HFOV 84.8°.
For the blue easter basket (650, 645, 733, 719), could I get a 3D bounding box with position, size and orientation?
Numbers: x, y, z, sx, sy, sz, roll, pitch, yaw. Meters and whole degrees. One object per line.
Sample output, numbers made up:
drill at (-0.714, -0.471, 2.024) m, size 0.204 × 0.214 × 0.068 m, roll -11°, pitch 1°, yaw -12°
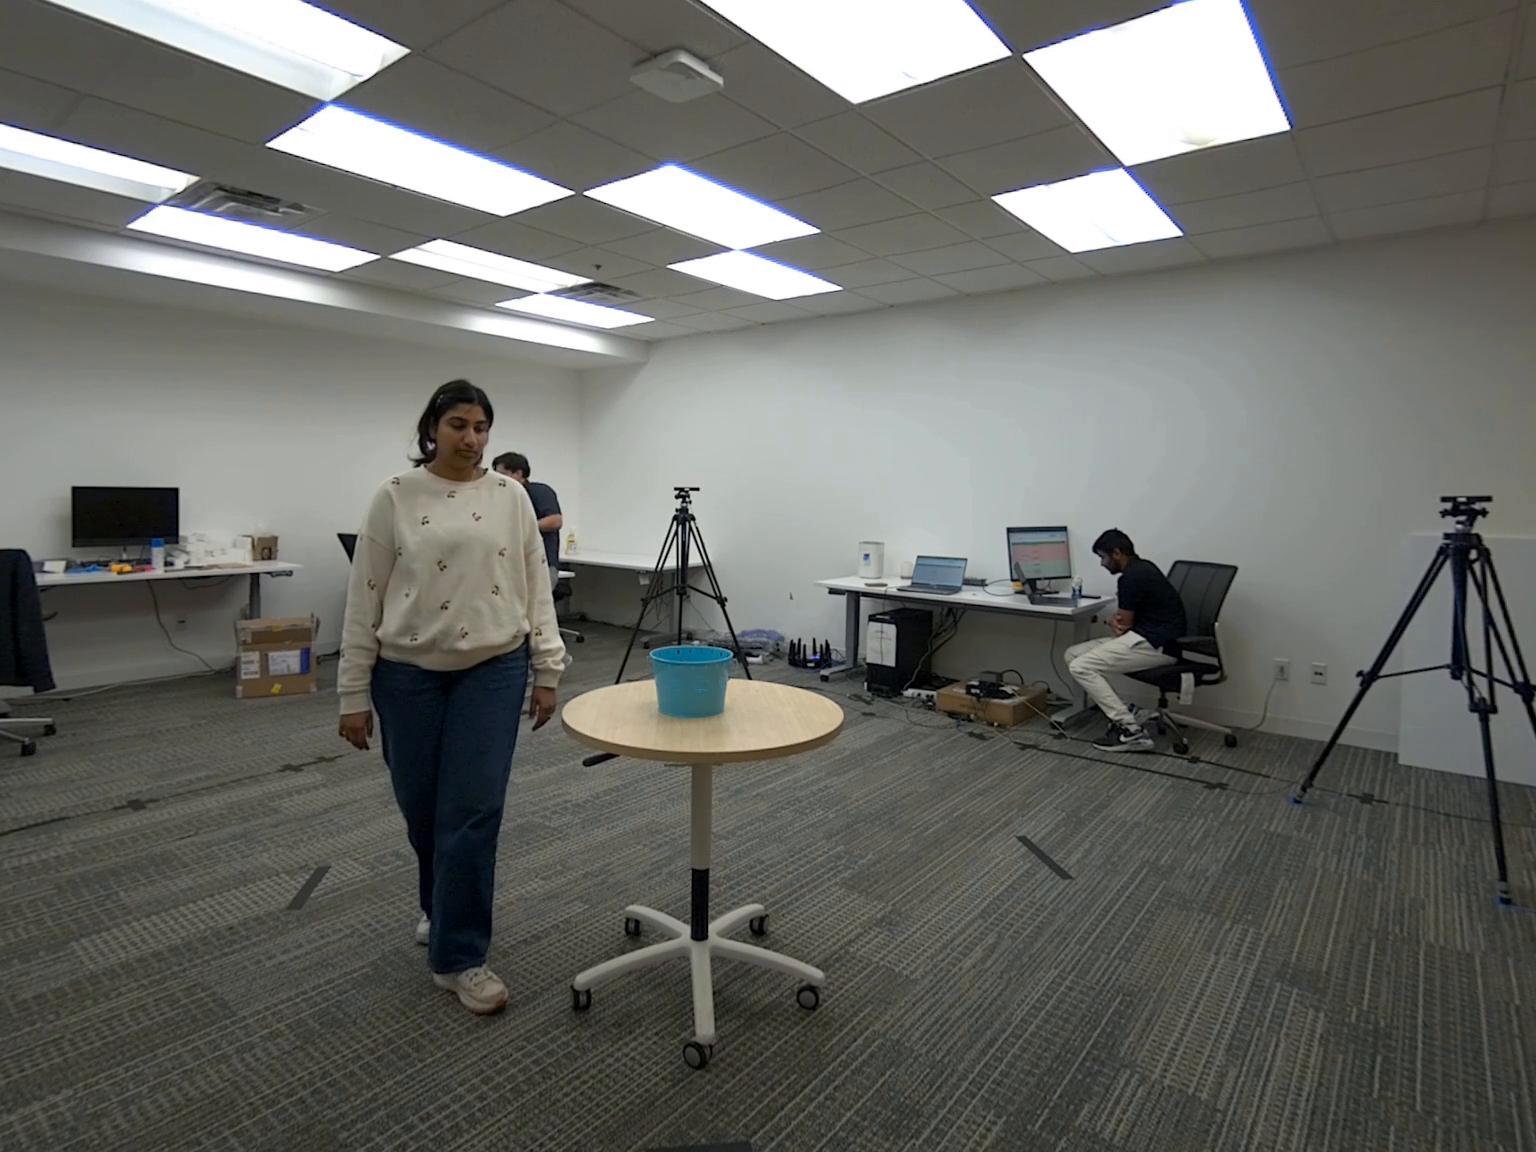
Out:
blue easter basket at (-0.214, 0.294, 2.310) m, size 0.243 × 0.155 × 0.245 m, roll 1°, pitch 7°, yaw -2°
